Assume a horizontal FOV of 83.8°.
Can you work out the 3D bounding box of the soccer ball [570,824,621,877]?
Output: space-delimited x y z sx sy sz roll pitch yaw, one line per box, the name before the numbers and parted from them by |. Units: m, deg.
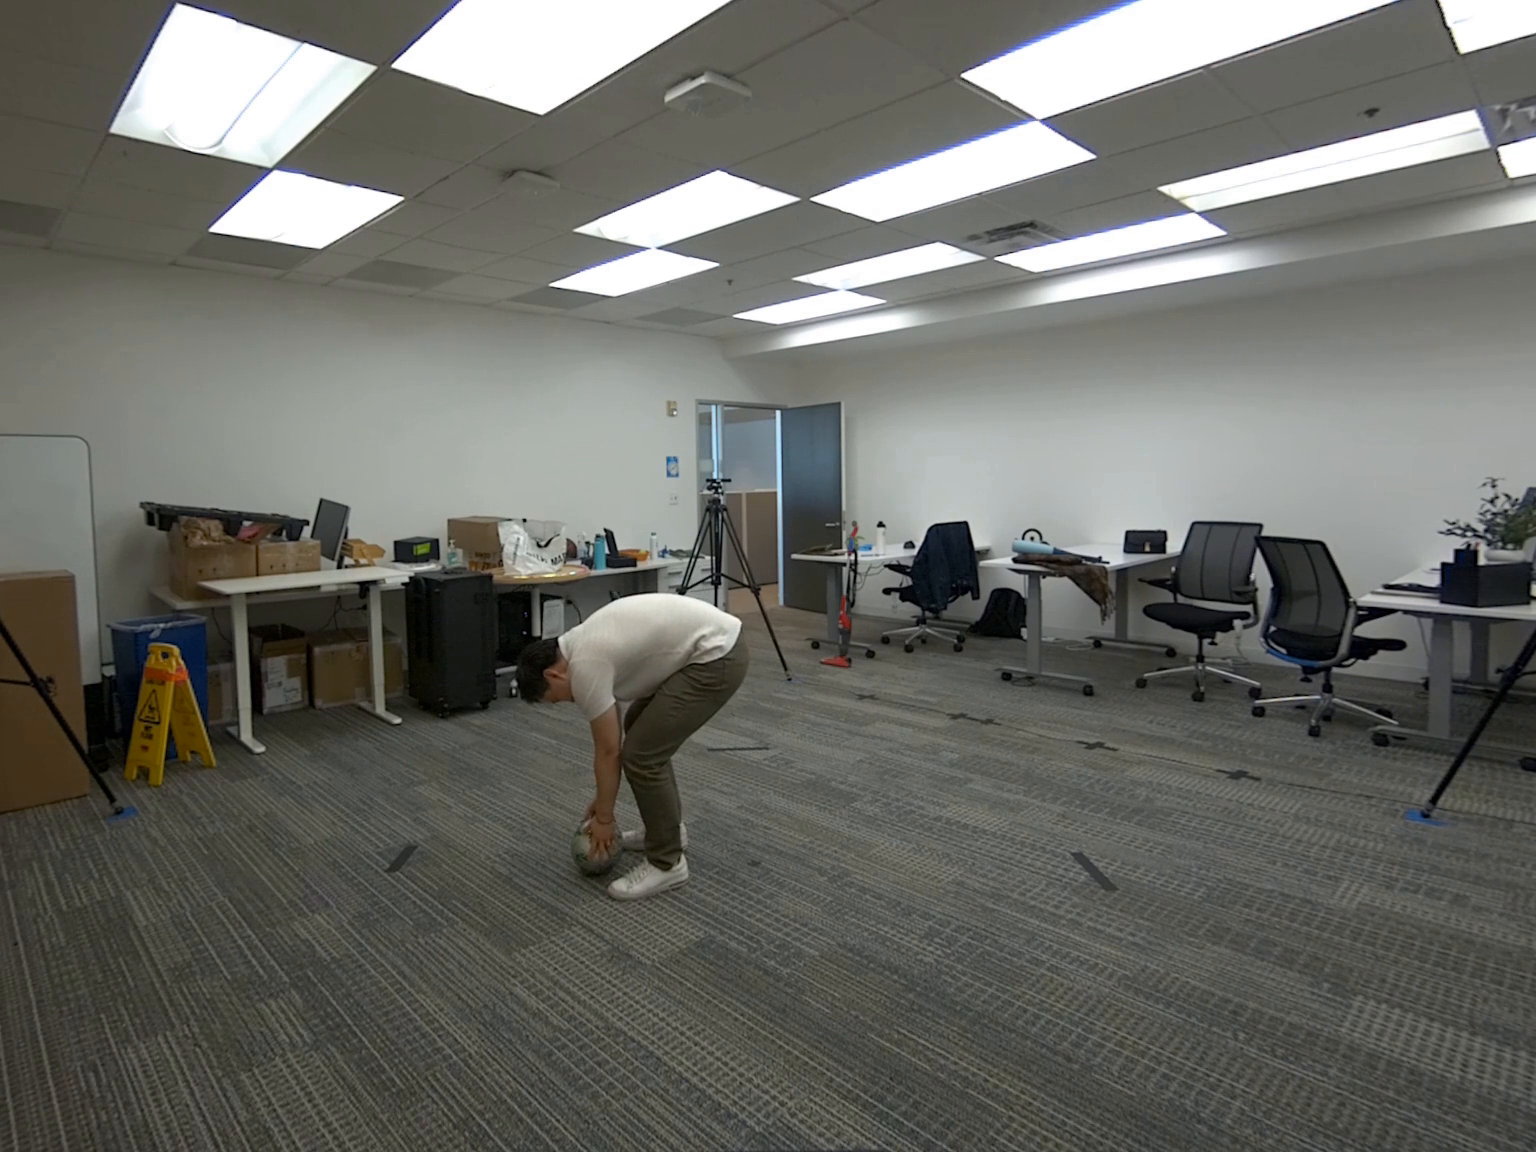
soccer ball | -0.615 0.966 3.057 0.187 0.187 0.188 -1 5 -2
